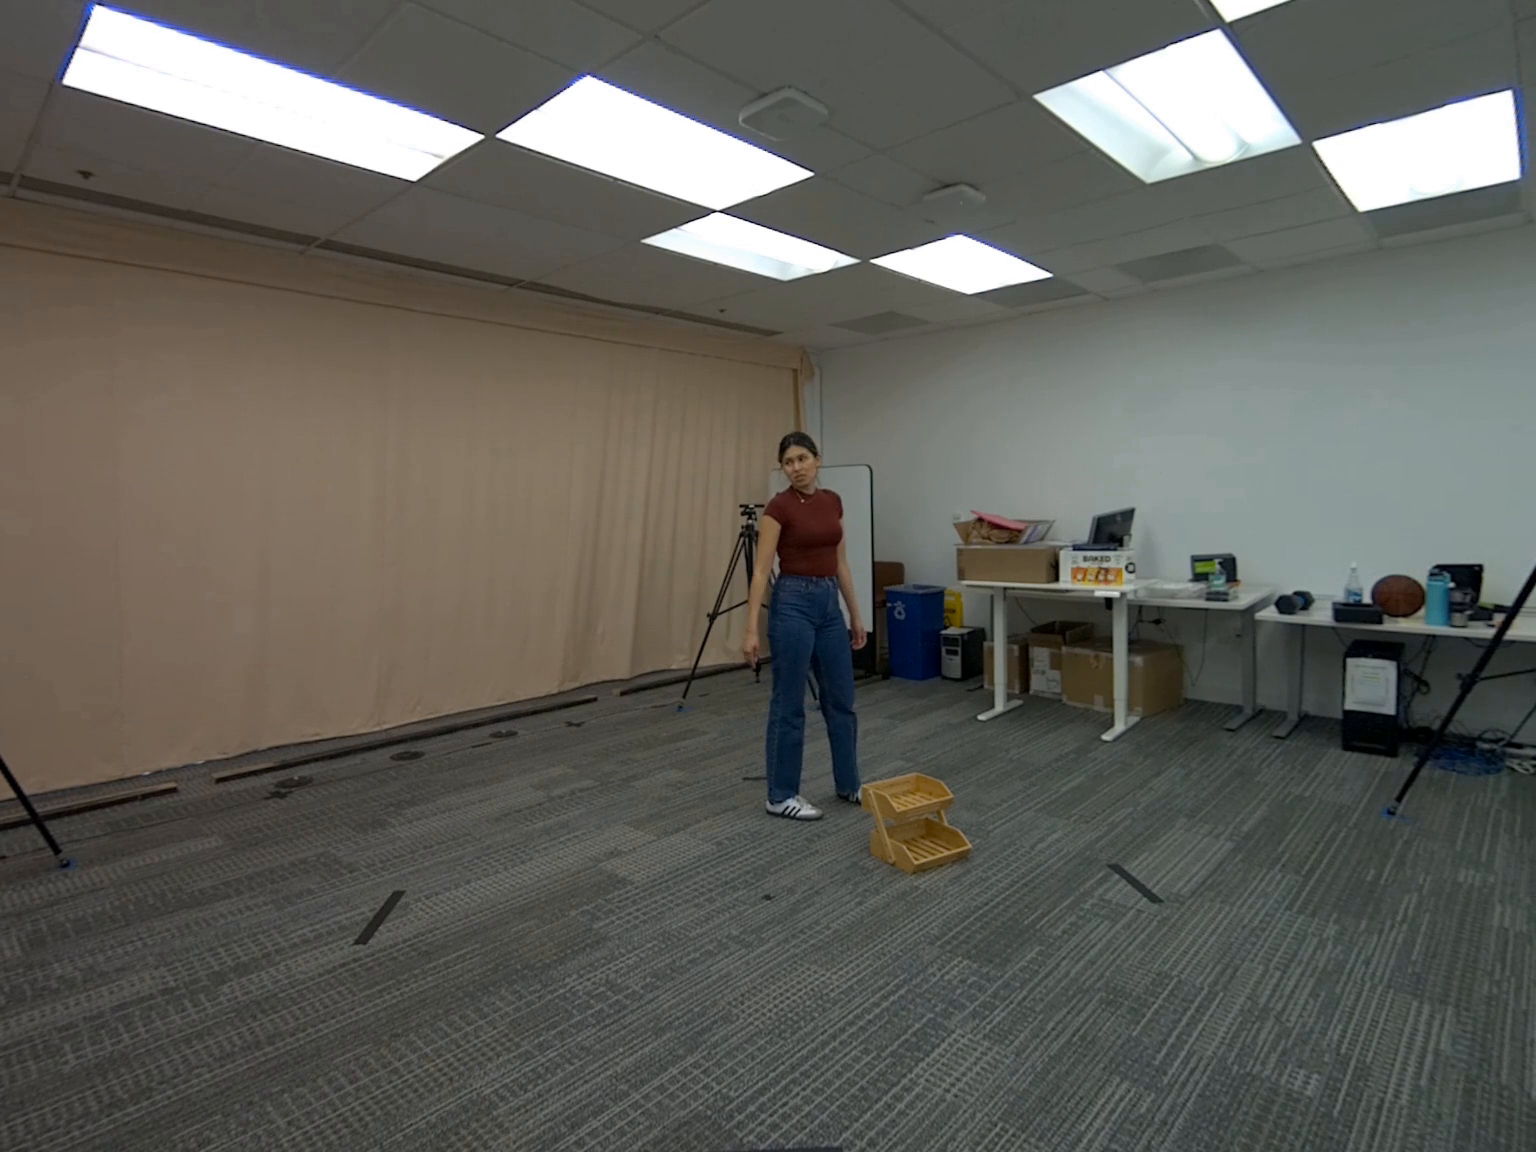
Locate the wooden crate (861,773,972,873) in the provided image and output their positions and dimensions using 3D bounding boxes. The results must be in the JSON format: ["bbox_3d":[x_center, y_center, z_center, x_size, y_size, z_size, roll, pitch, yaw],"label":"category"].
[{"bbox_3d":[0.591,0.964,3.327,0.315,0.273,0.311,-3,4,-33],"label":"wooden crate"}]
